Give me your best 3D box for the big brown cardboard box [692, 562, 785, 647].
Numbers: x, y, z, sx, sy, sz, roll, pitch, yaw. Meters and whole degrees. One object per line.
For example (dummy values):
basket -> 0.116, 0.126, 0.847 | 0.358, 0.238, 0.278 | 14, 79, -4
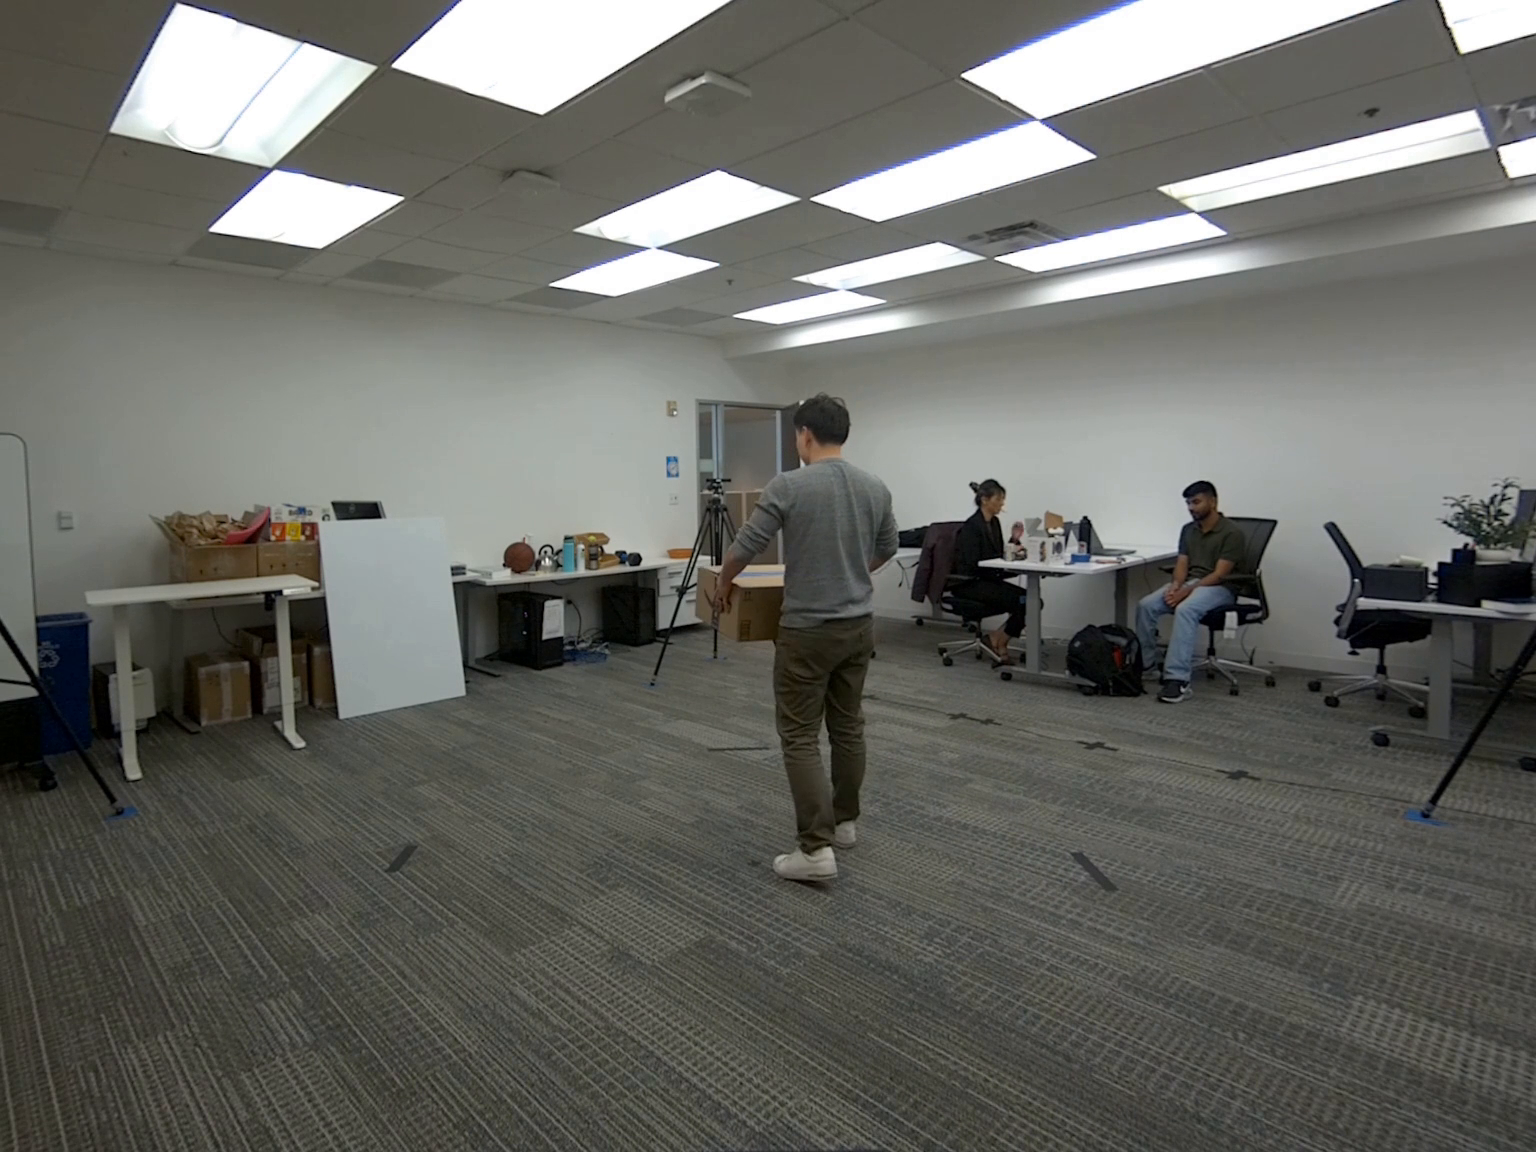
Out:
big brown cardboard box -> 0.047, 0.097, 3.489 | 0.576, 0.231, 0.430 | -2, 11, -26
